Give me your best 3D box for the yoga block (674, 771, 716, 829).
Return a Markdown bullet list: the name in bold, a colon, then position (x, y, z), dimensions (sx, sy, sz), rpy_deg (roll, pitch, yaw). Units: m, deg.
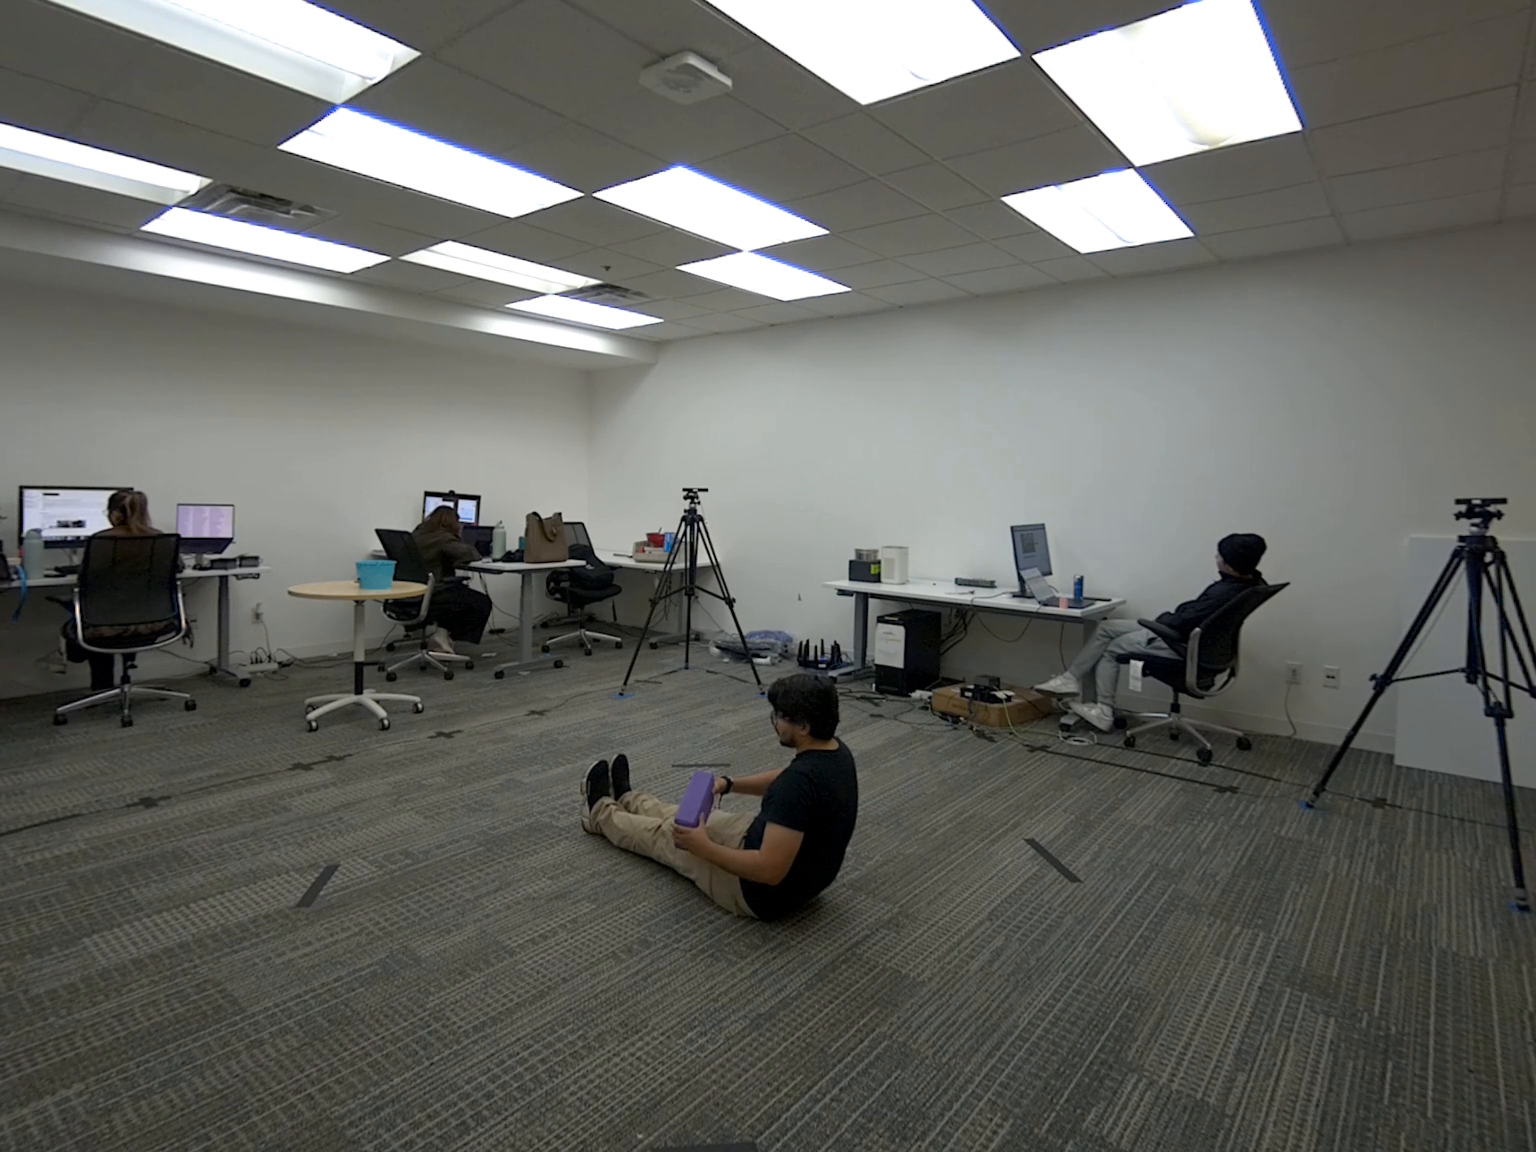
- **yoga block**: position (-0.253, 0.794, 2.886), dimensions (0.078, 0.145, 0.231), rpy_deg (7, 31, 13)
